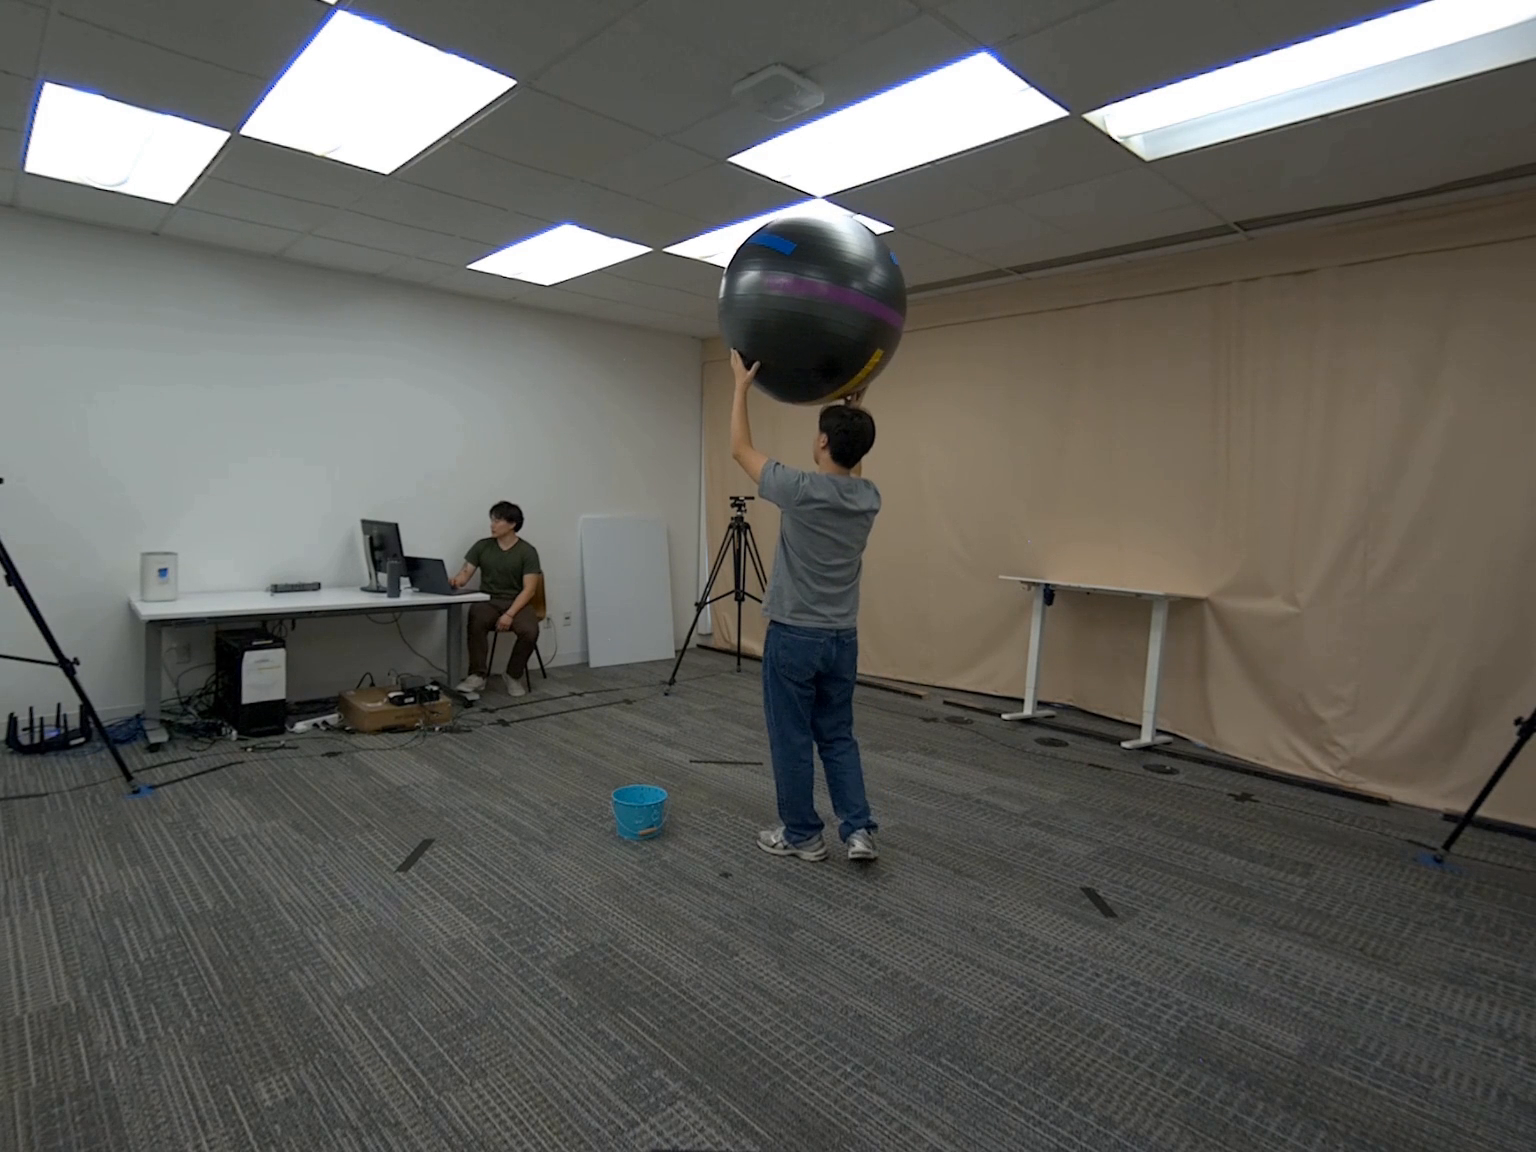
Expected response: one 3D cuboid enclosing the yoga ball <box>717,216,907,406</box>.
[{"bbox_3d":[0.171,-1.076,3.402,0.757,0.756,0.761,1,4,-1],"label":"yoga ball"}]
